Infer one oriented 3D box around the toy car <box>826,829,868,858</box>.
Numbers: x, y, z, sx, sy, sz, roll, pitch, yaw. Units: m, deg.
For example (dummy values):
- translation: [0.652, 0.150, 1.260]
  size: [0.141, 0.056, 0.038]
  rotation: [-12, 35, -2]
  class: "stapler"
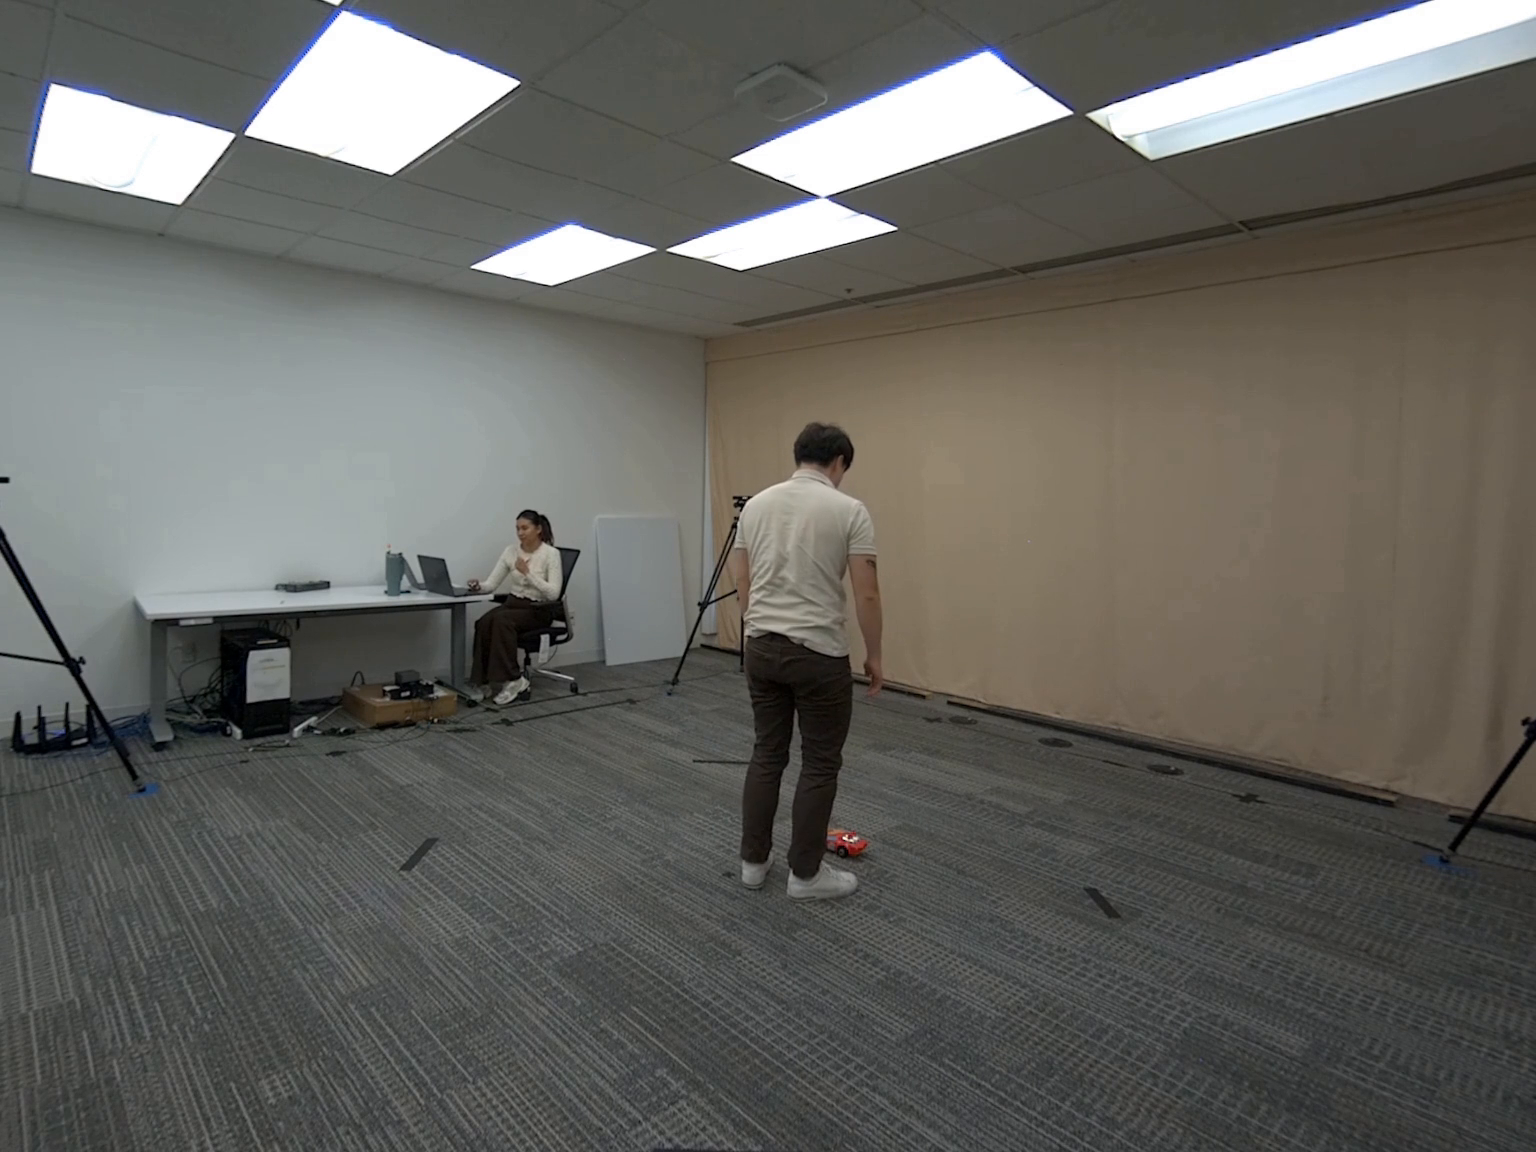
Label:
- translation: [0.272, 1.060, 3.347]
  size: [0.259, 0.083, 0.127]
  rotation: [-8, -3, 37]
  class: "toy car"
